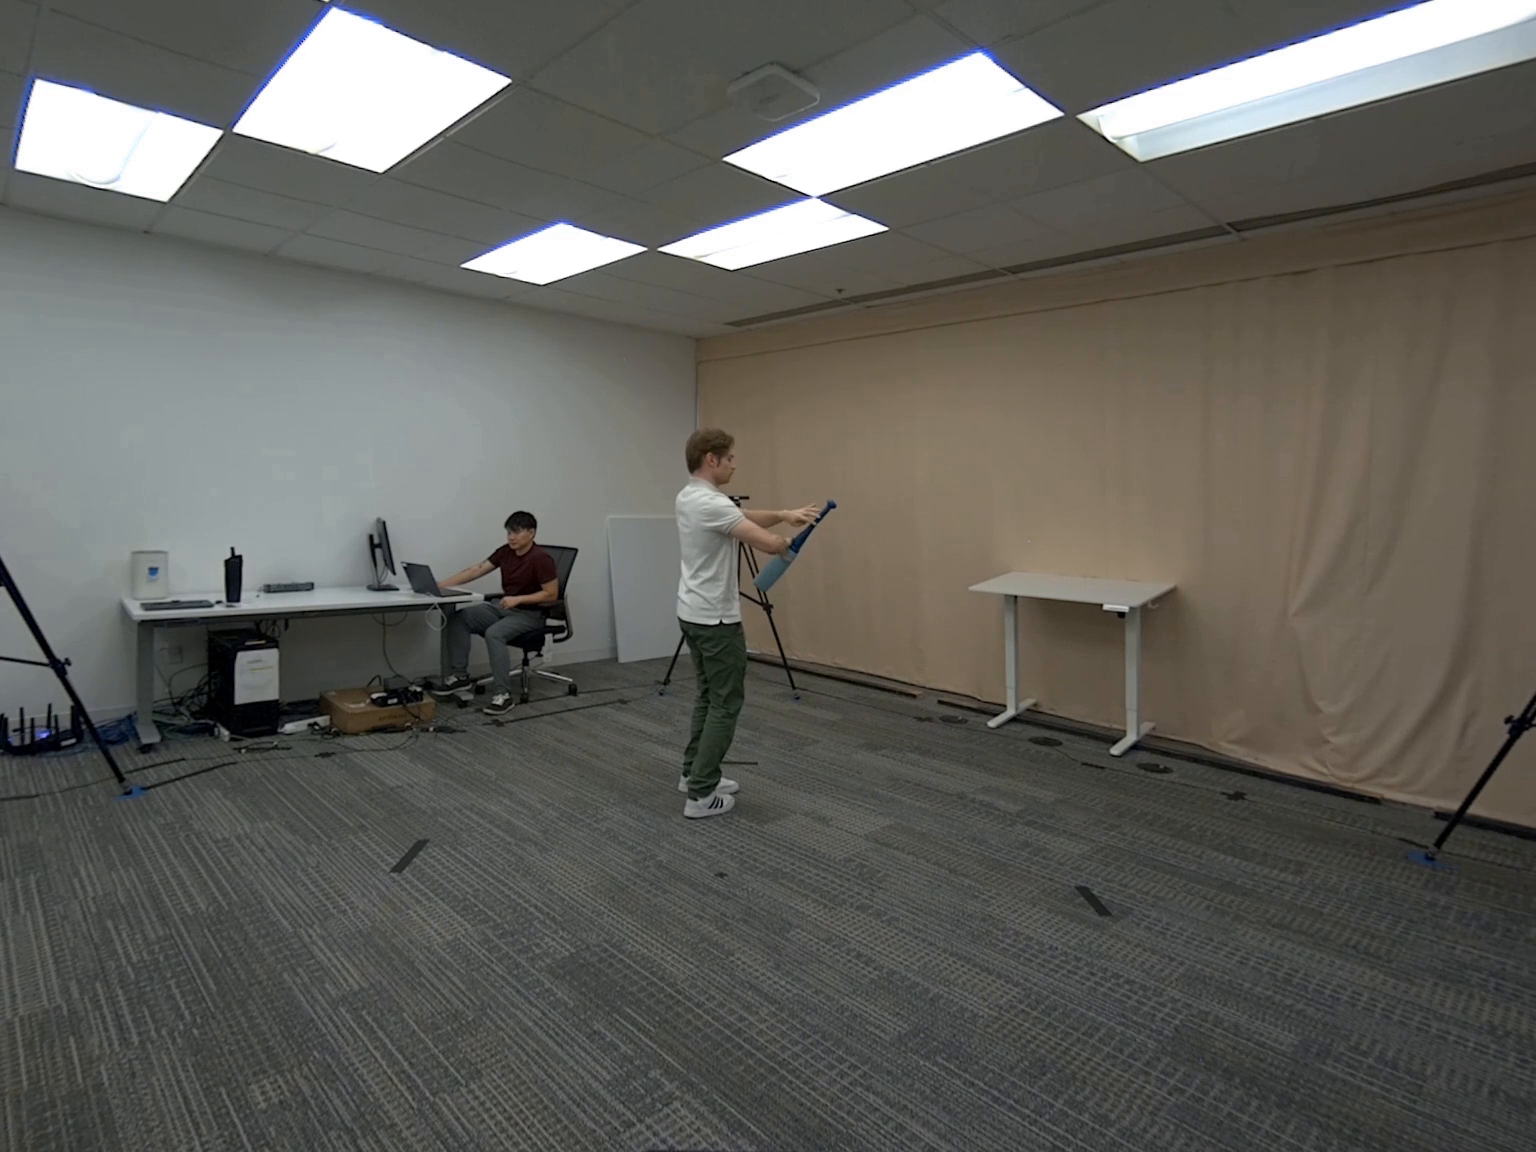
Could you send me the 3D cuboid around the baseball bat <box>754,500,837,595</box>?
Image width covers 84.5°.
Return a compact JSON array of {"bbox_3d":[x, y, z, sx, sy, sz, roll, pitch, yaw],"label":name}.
[{"bbox_3d":[0.114,-0.140,3.895,0.087,0.542,0.090,36,19,-16],"label":"baseball bat"}]
